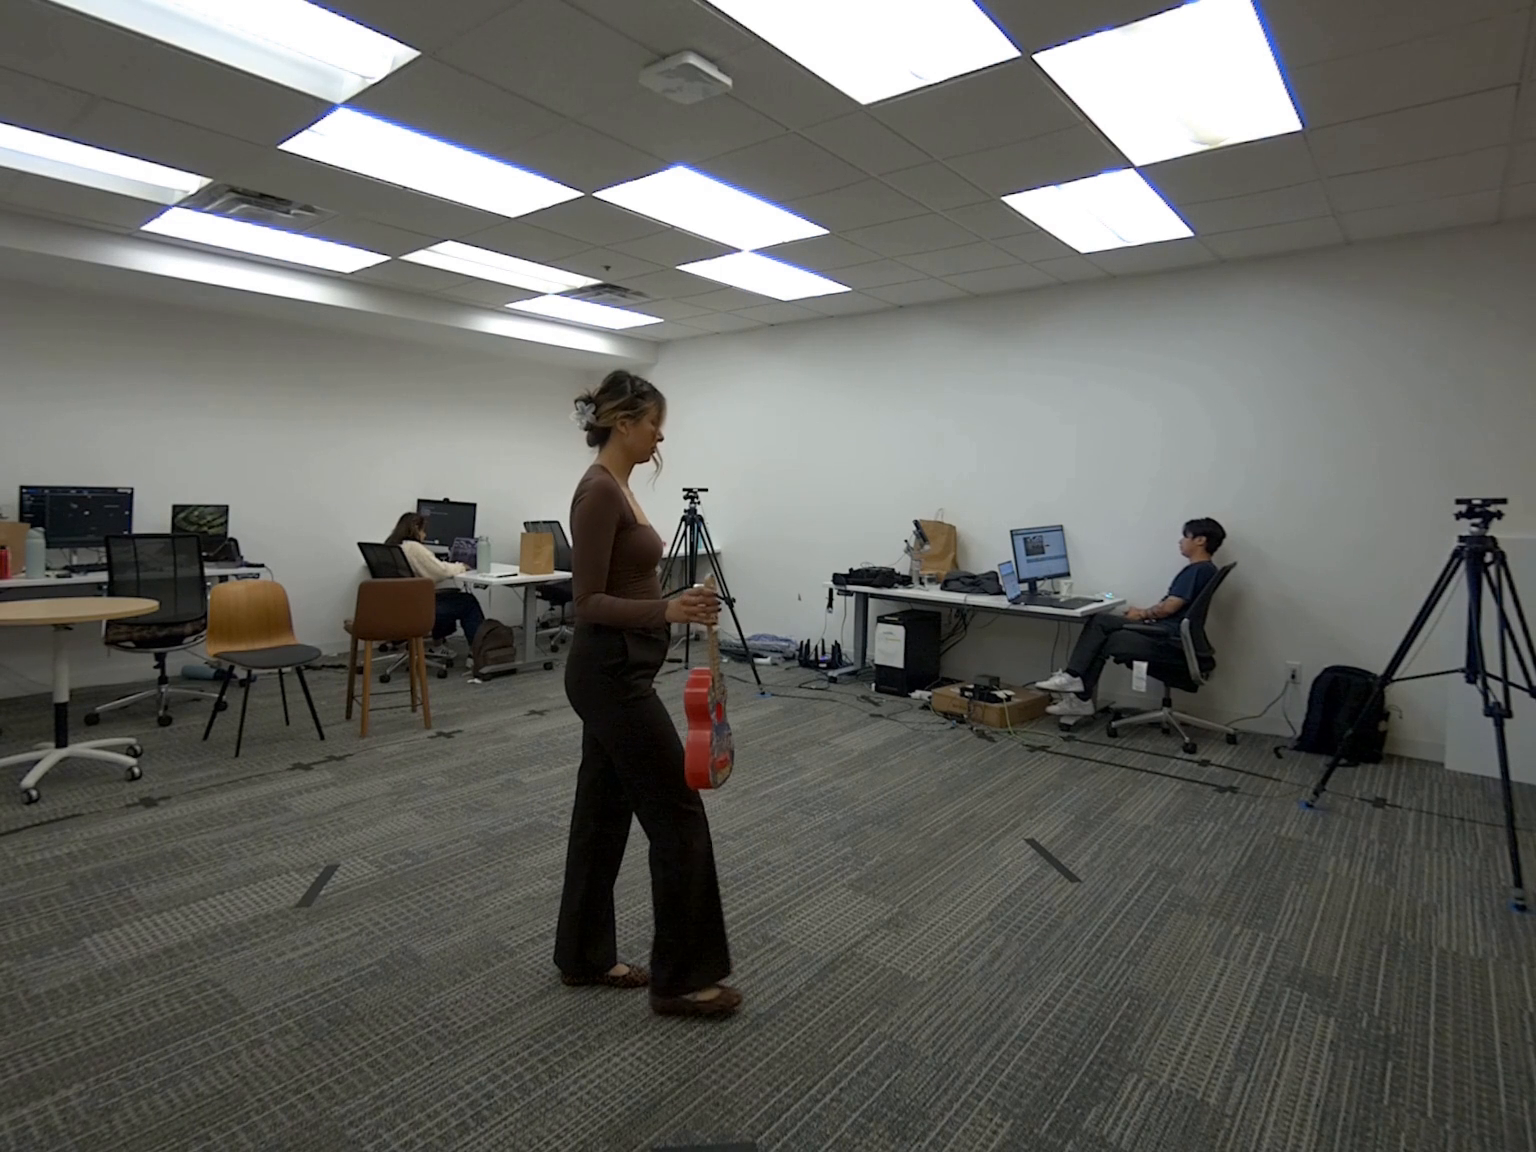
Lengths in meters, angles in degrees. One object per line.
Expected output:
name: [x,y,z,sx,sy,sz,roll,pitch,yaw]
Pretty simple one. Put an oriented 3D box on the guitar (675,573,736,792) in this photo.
guitar: [-0.151,0.247,2.048,0.071,0.500,0.189,-4,-5,12]
